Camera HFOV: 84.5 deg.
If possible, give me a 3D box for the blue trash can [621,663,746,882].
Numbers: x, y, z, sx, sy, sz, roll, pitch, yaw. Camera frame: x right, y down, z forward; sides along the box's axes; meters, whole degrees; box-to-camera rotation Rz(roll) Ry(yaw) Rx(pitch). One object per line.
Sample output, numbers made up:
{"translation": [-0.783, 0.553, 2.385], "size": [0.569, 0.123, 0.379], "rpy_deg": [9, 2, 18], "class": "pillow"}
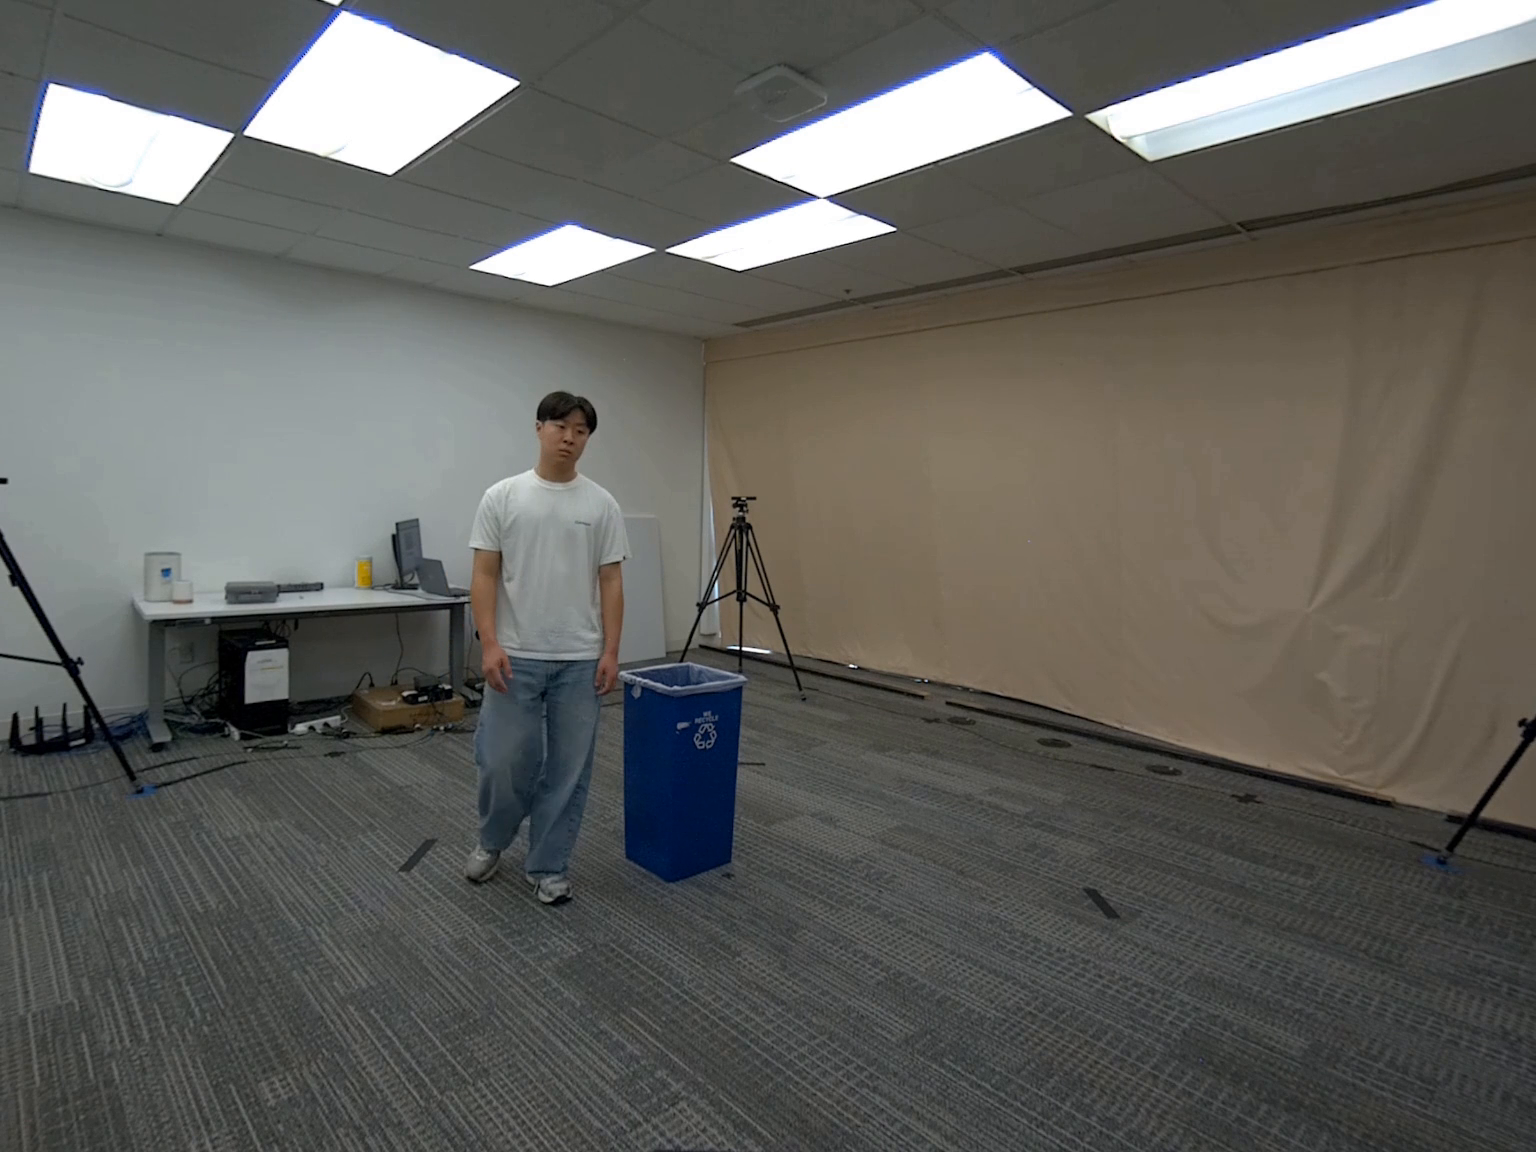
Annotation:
{"translation": [-0.337, 0.732, 3.228], "size": [0.365, 0.712, 0.388], "rpy_deg": [-2, 5, -43], "class": "blue trash can"}
